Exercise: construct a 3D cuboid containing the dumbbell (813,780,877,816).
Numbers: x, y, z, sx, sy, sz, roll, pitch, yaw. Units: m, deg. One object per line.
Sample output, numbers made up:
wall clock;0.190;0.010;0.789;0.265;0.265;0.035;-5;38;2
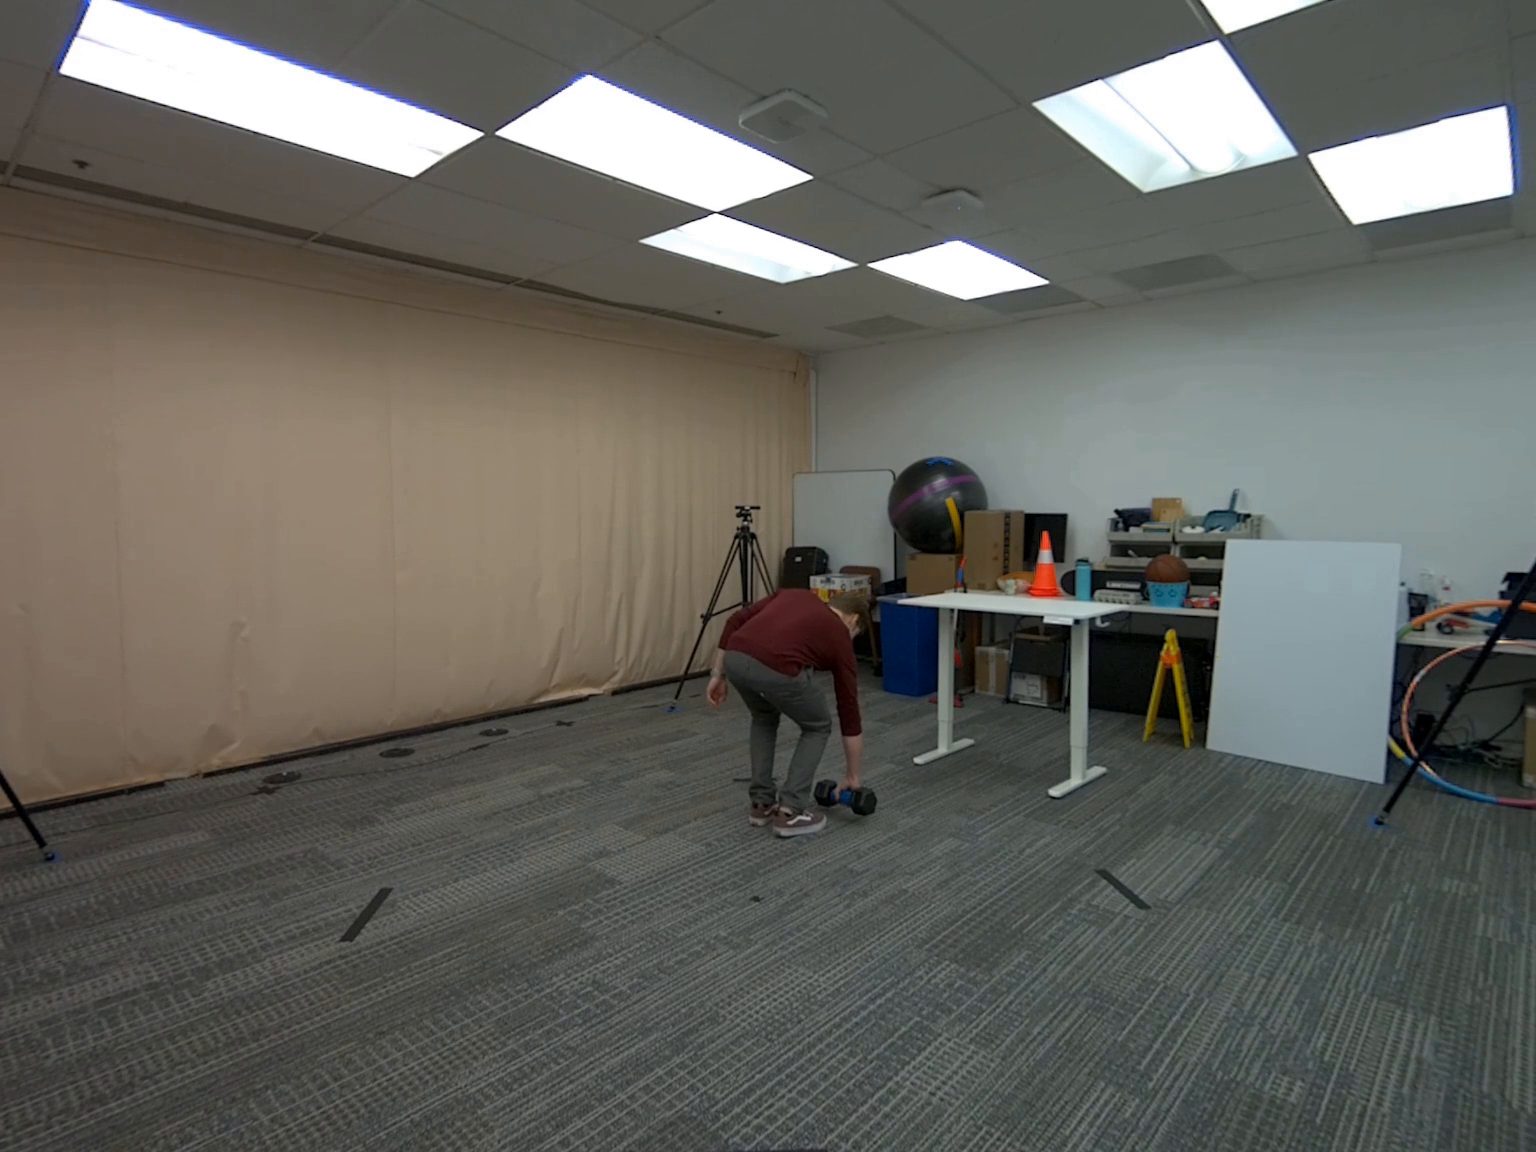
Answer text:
dumbbell;0.345;0.982;3.767;0.303;0.123;0.105;0;-28;47
